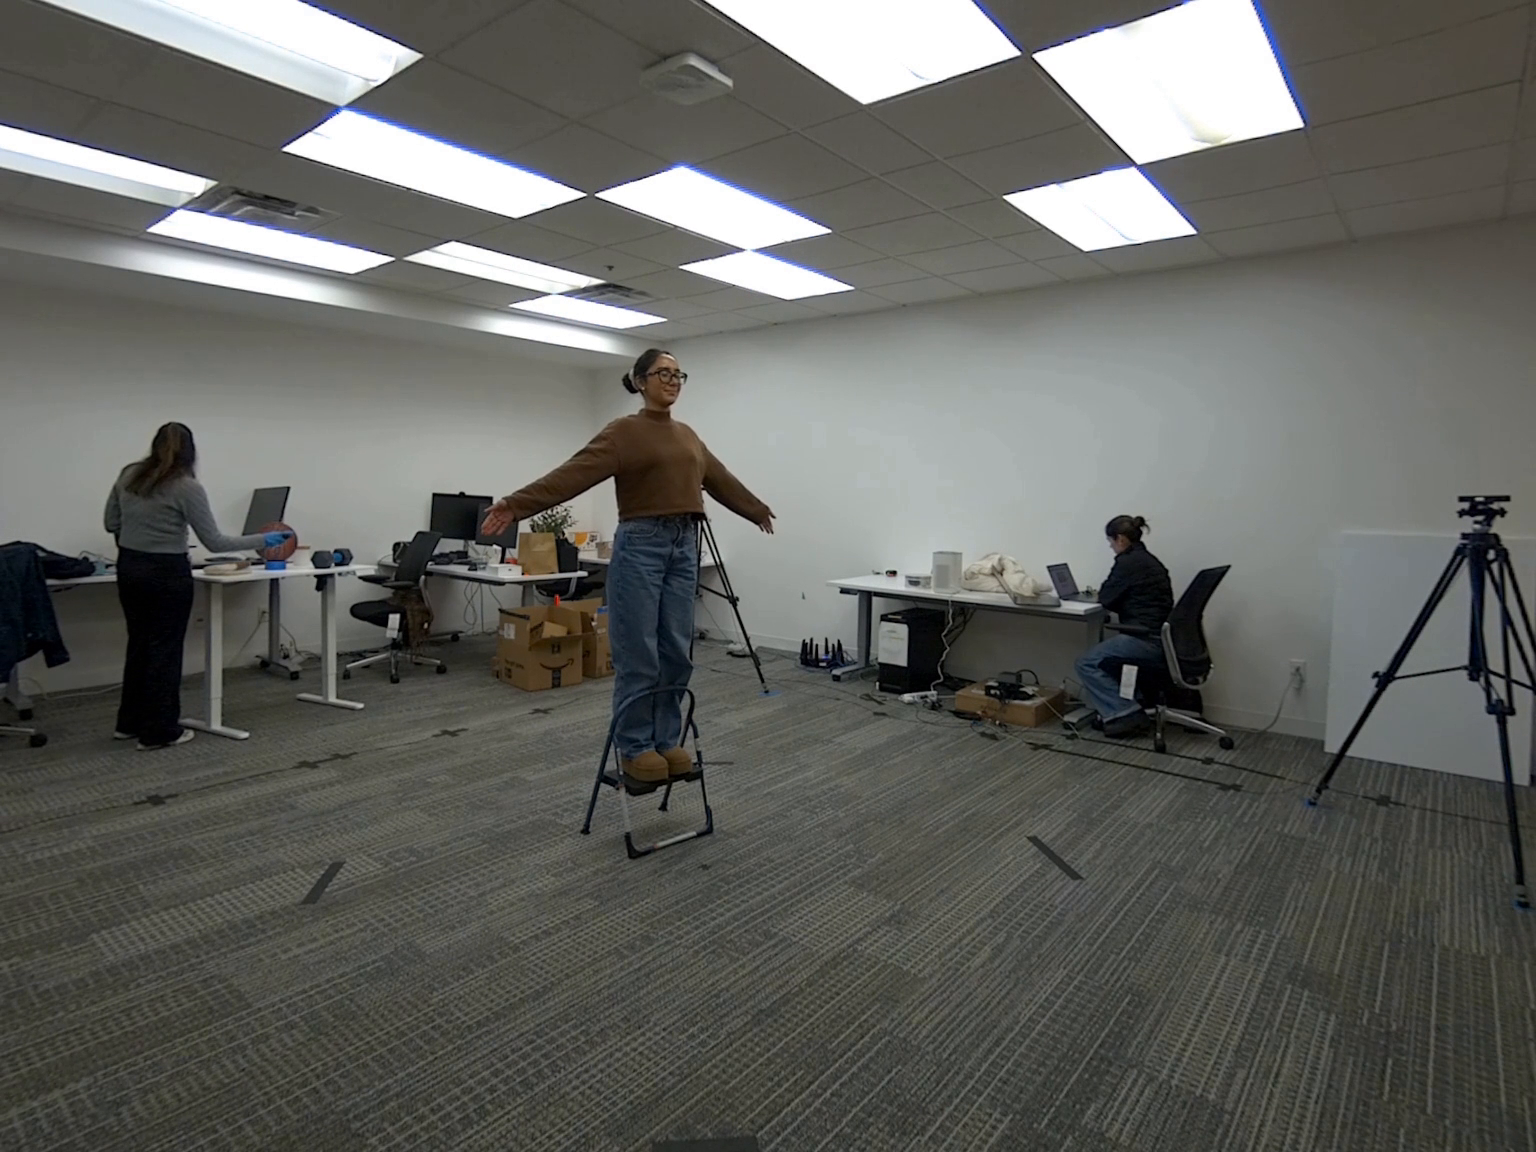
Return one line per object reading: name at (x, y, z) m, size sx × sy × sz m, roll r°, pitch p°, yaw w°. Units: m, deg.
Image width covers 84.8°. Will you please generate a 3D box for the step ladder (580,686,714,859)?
step ladder at (-0.489, 0.731, 3.411) m, size 0.417 × 0.604 × 0.361 m, roll -3°, pitch 5°, yaw -44°
